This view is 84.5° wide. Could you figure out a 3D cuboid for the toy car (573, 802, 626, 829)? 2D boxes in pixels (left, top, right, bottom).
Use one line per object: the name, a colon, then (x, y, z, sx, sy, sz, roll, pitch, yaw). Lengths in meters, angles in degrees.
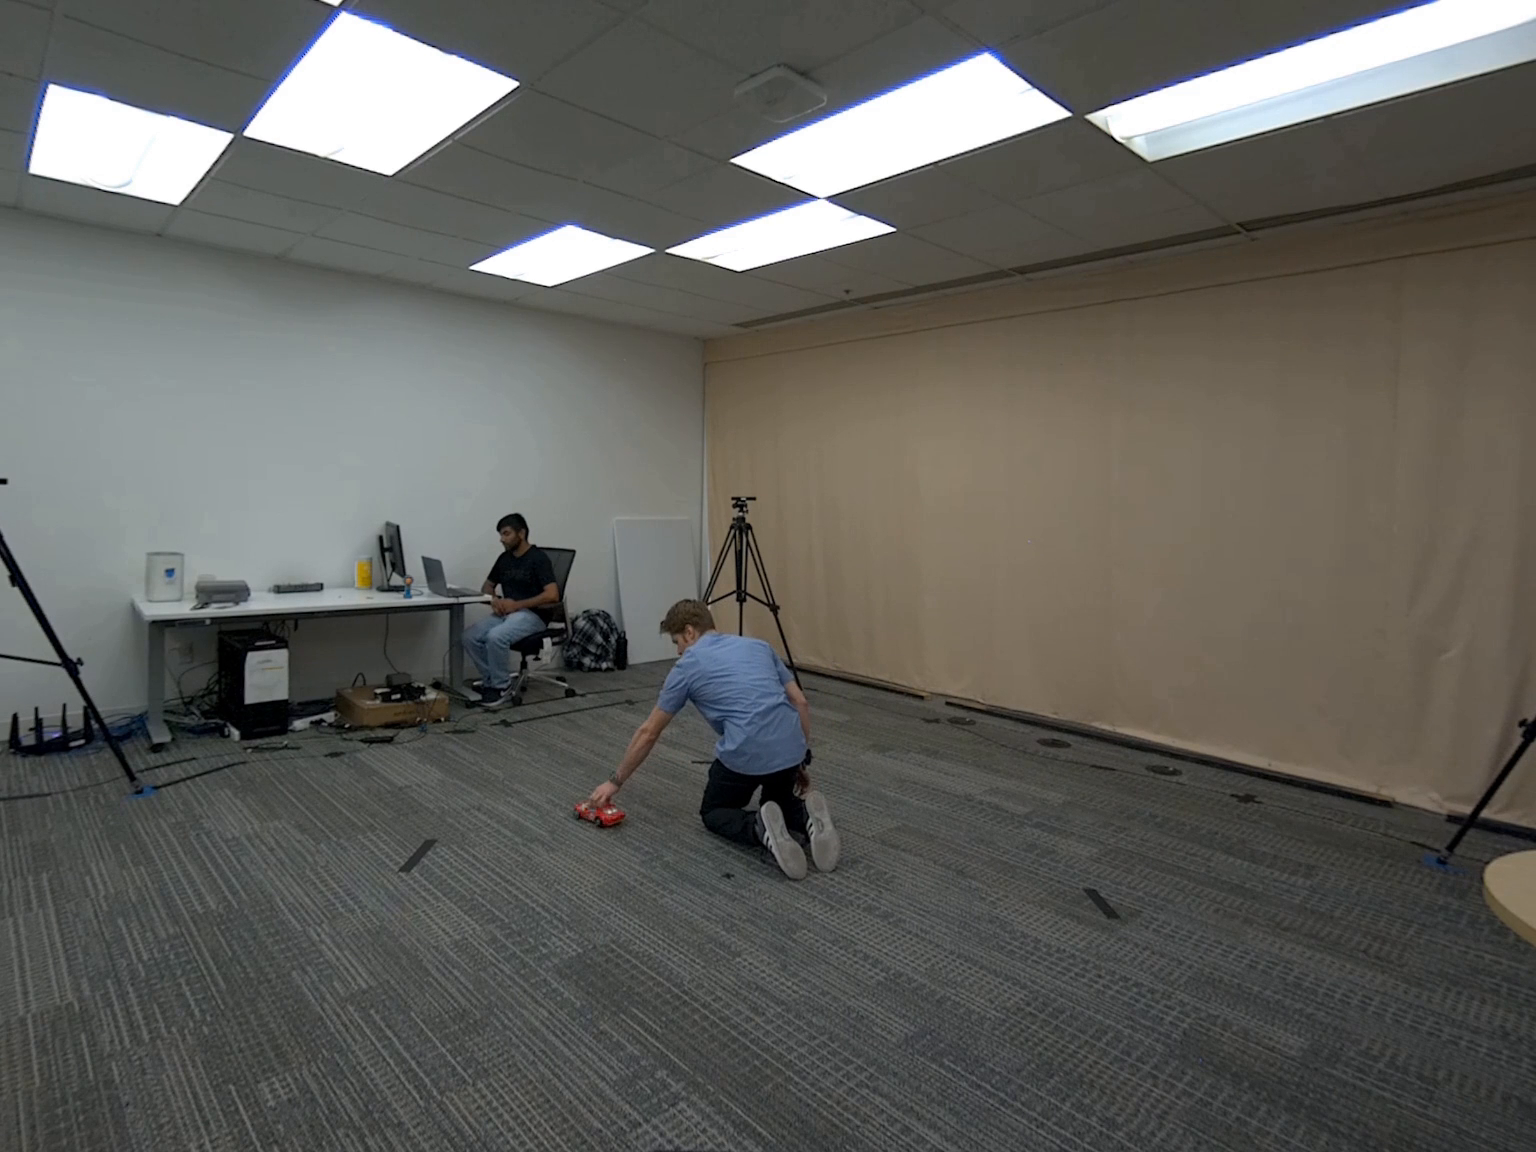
toy car: (-0.717, 1.012, 3.610, 0.260, 0.083, 0.127, -7, -2, 40)
